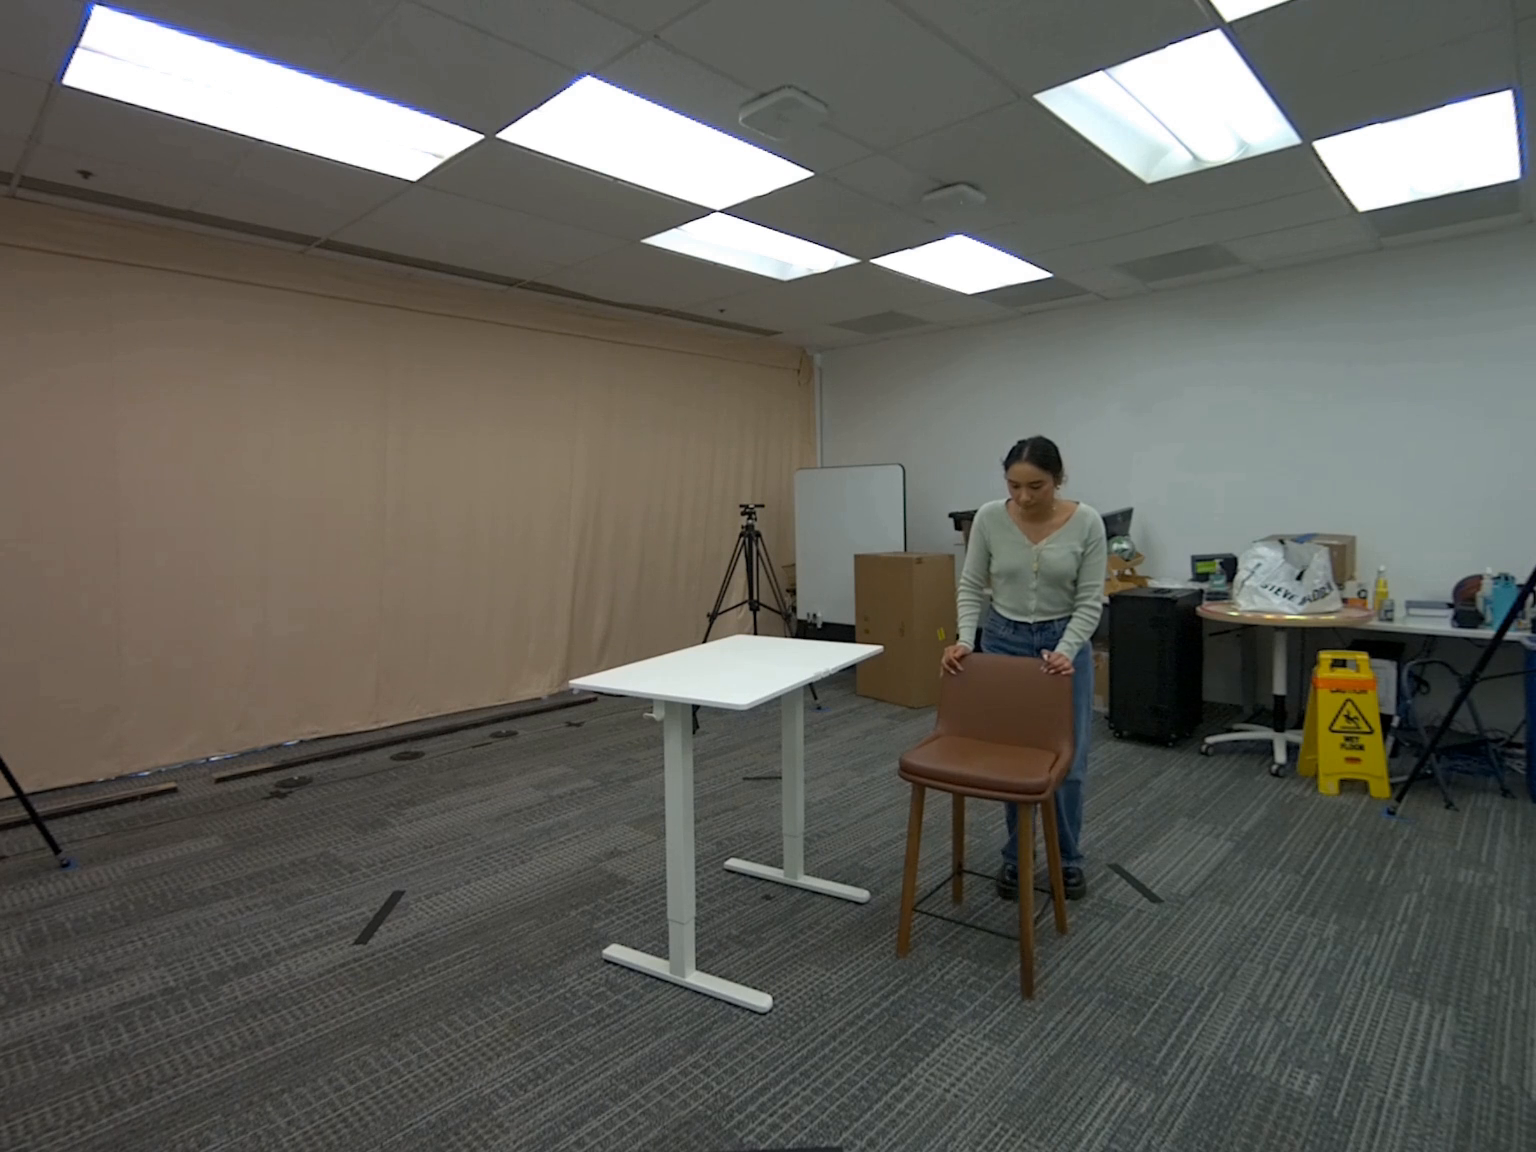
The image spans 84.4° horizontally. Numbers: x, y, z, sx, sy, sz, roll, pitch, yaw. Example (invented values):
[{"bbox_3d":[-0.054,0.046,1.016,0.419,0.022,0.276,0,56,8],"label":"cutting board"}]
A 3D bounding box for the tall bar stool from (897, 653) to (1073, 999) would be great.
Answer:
[{"bbox_3d":[0.690,0.719,2.623,0.471,0.889,0.453,2,2,36],"label":"tall bar stool"}]
